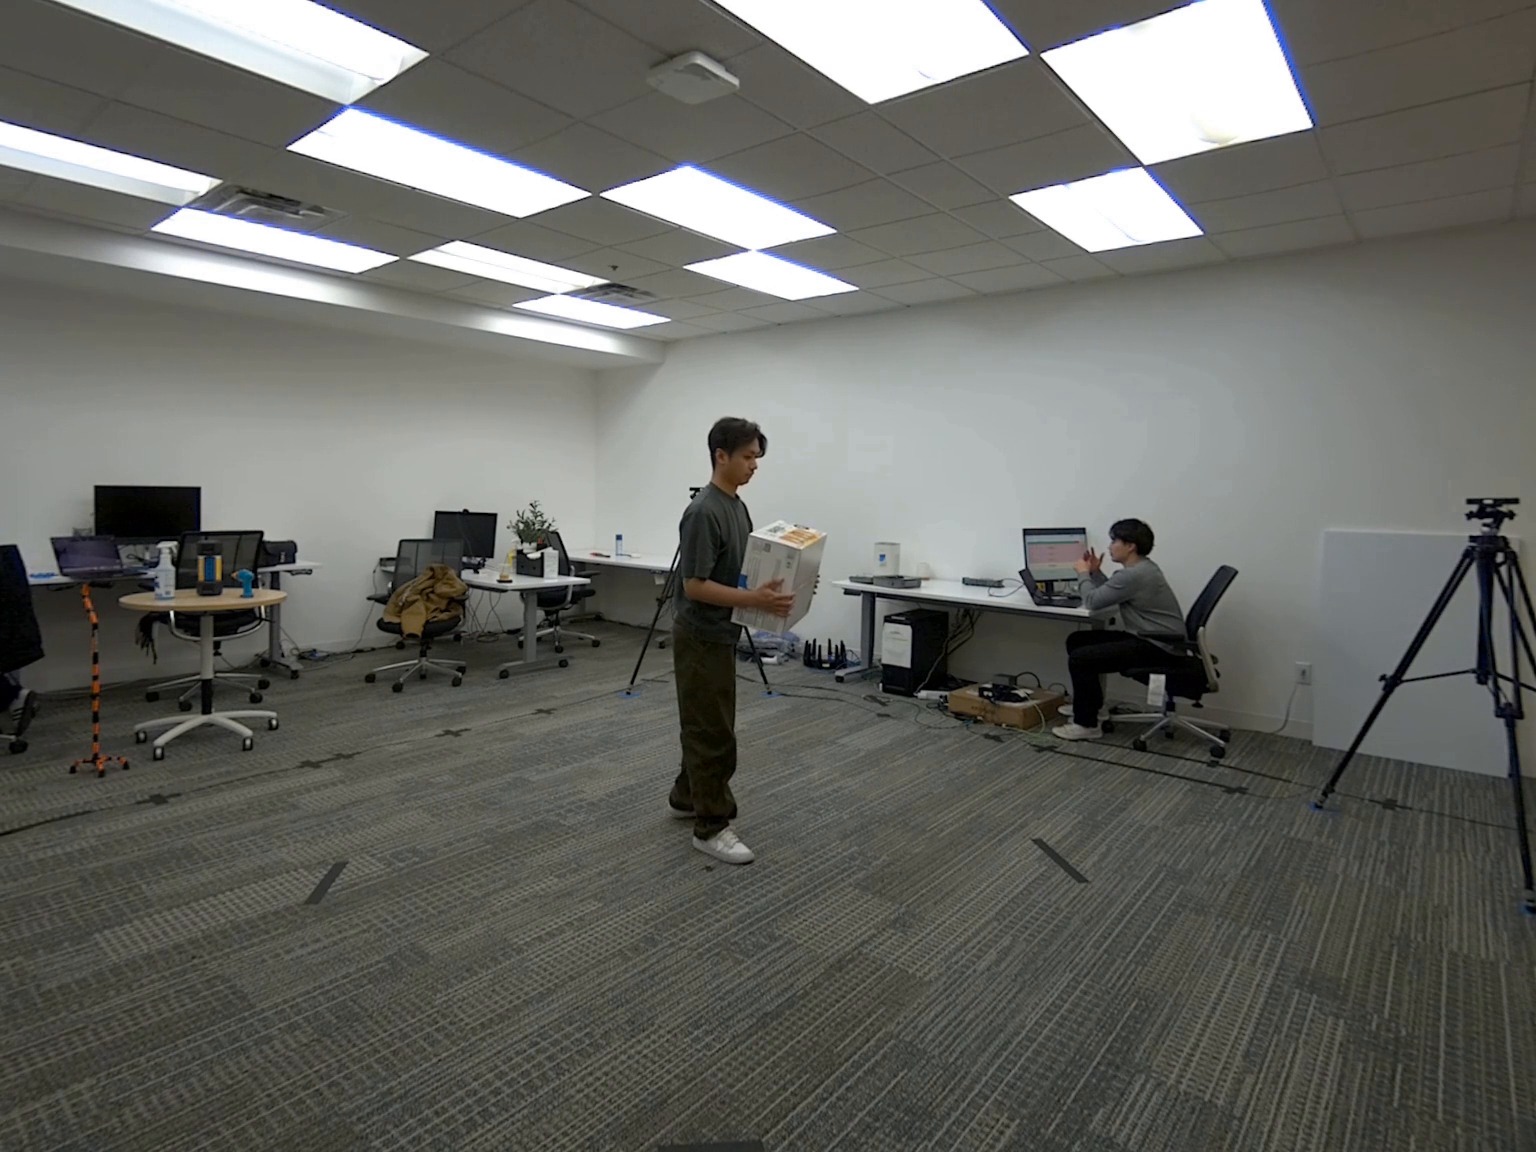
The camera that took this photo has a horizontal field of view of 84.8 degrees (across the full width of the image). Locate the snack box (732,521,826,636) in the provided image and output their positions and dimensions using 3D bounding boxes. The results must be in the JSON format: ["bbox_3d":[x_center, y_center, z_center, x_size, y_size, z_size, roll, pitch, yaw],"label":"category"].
[{"bbox_3d":[0.038,0.000,3.258,0.210,0.337,0.401,15,14,15],"label":"snack box"}]
